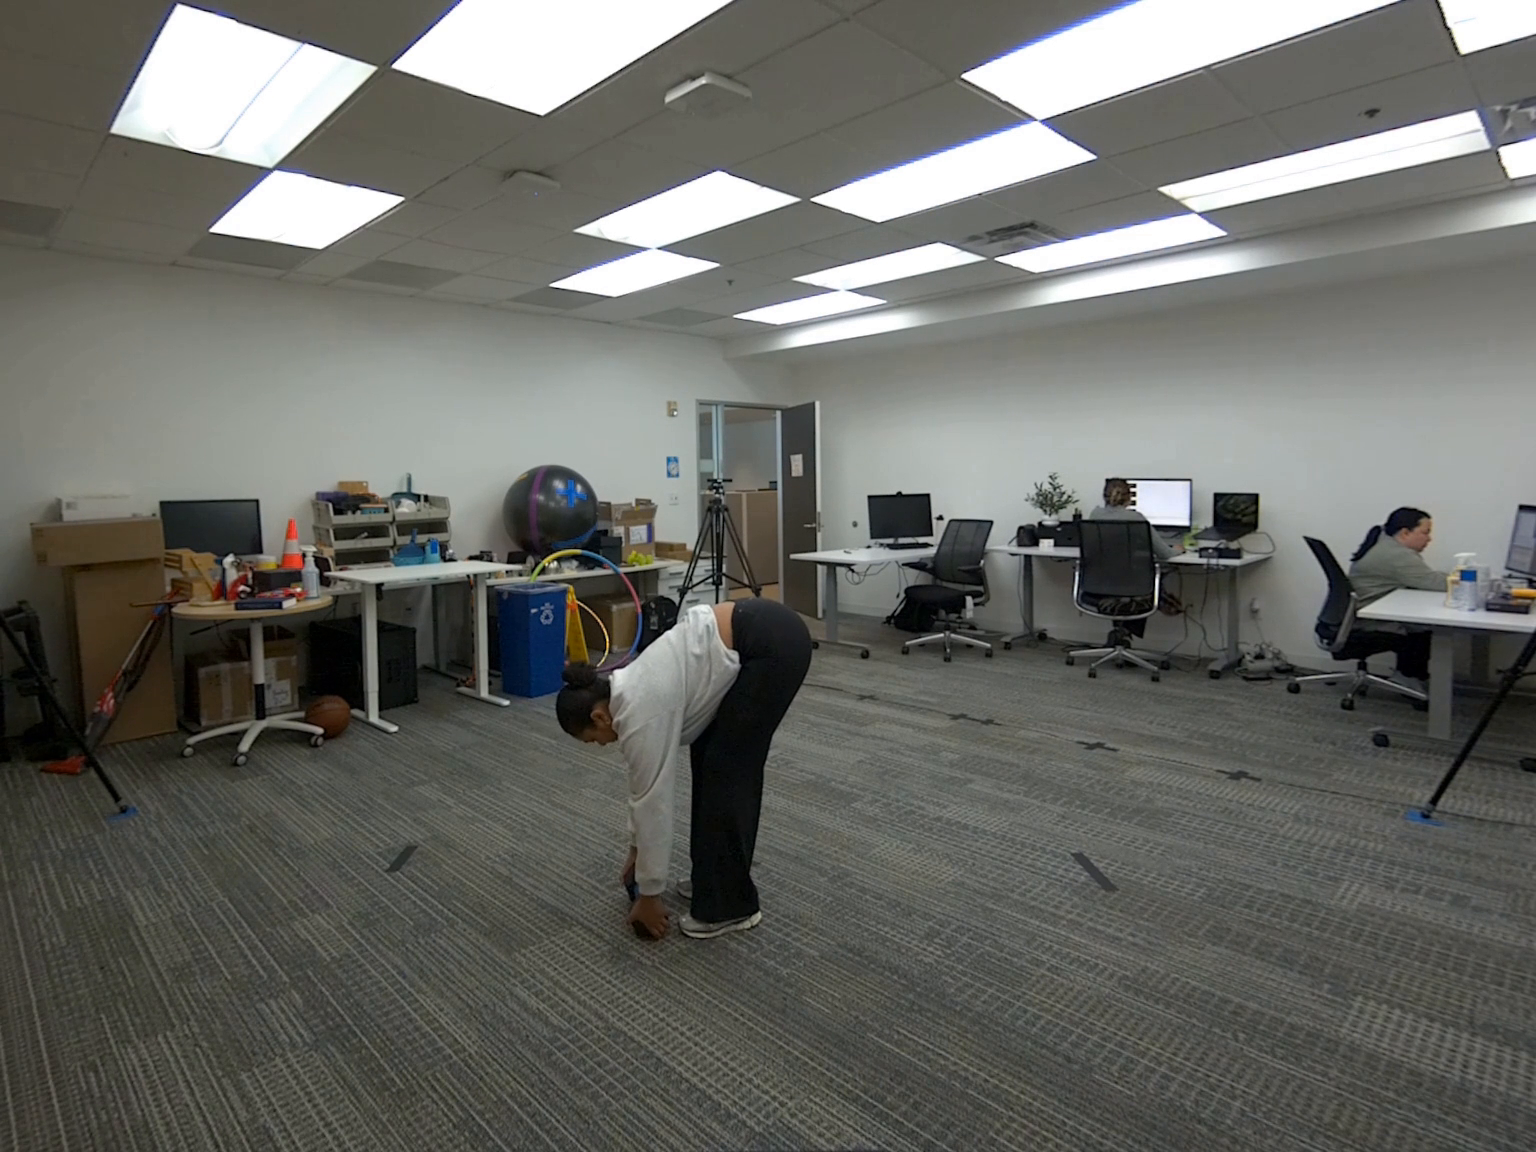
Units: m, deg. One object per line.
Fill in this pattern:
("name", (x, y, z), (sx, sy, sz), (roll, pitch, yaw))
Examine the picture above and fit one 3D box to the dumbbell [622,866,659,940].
("dumbbell", (-0.371, 1.028, 2.744), (0.107, 0.123, 0.298), (29, 0, -14))
